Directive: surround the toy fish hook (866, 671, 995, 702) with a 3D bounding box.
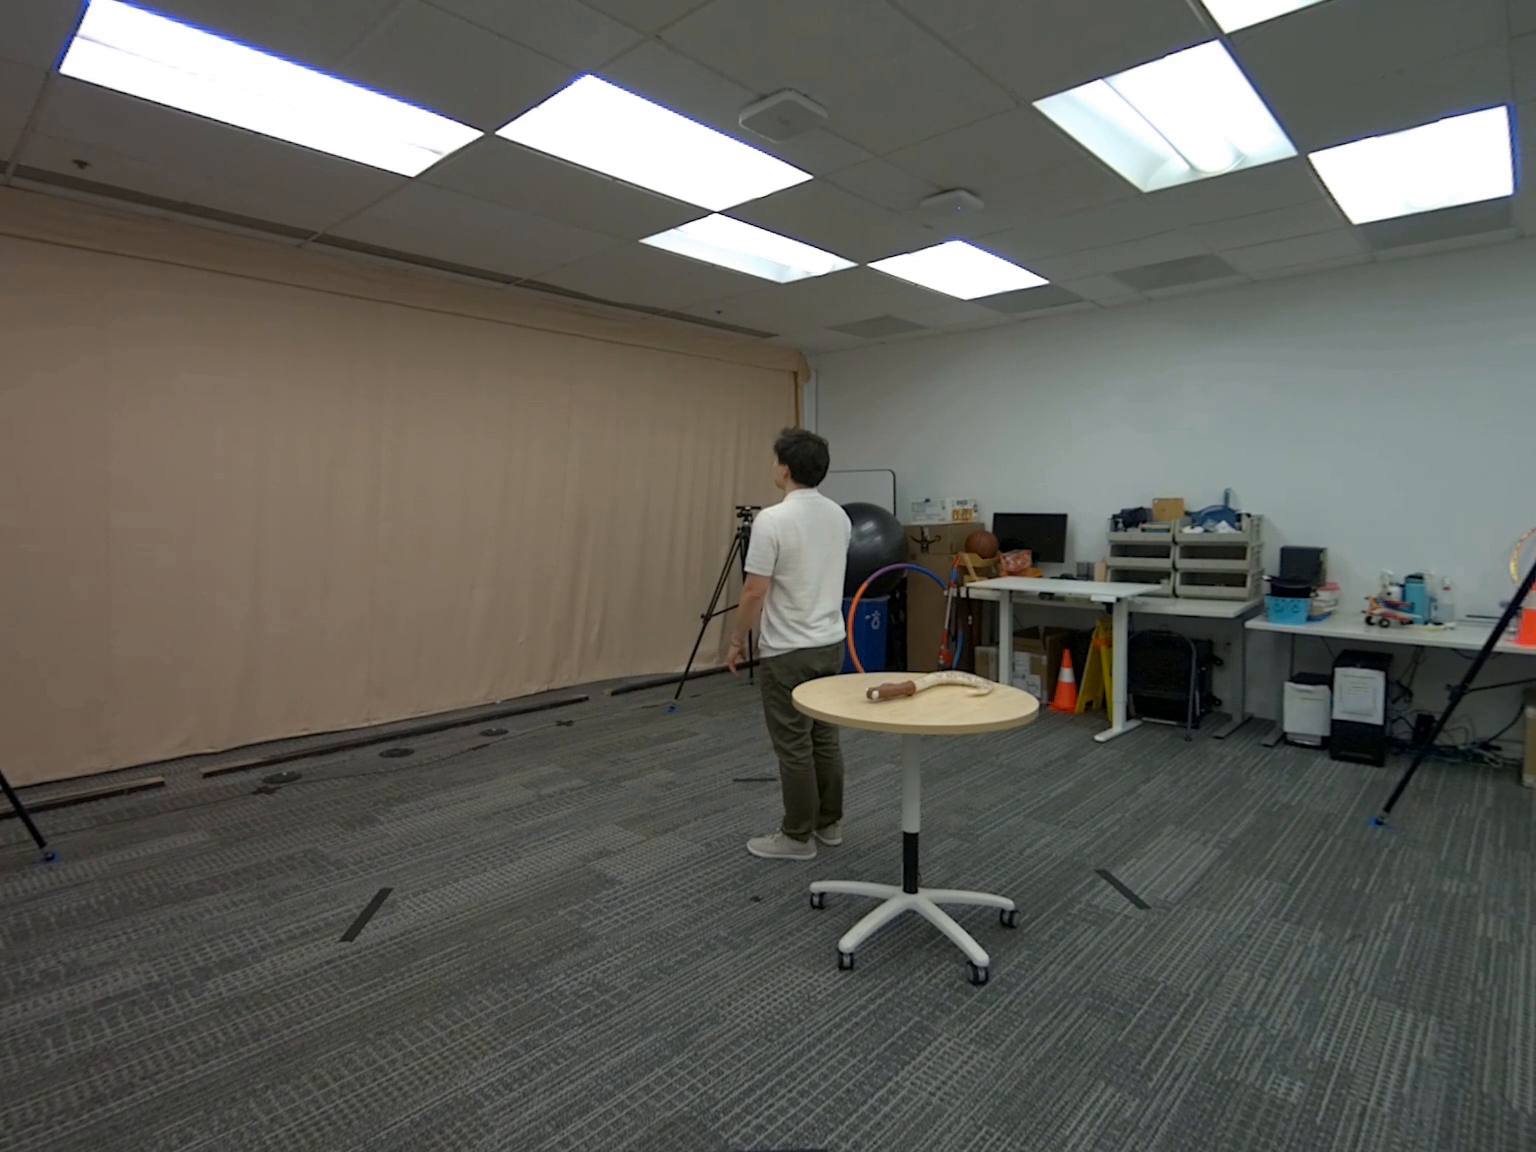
[{"bbox_3d":[0.535,0.363,2.705,0.491,0.048,0.232,-4,7,-39],"label":"toy fish hook"}]
